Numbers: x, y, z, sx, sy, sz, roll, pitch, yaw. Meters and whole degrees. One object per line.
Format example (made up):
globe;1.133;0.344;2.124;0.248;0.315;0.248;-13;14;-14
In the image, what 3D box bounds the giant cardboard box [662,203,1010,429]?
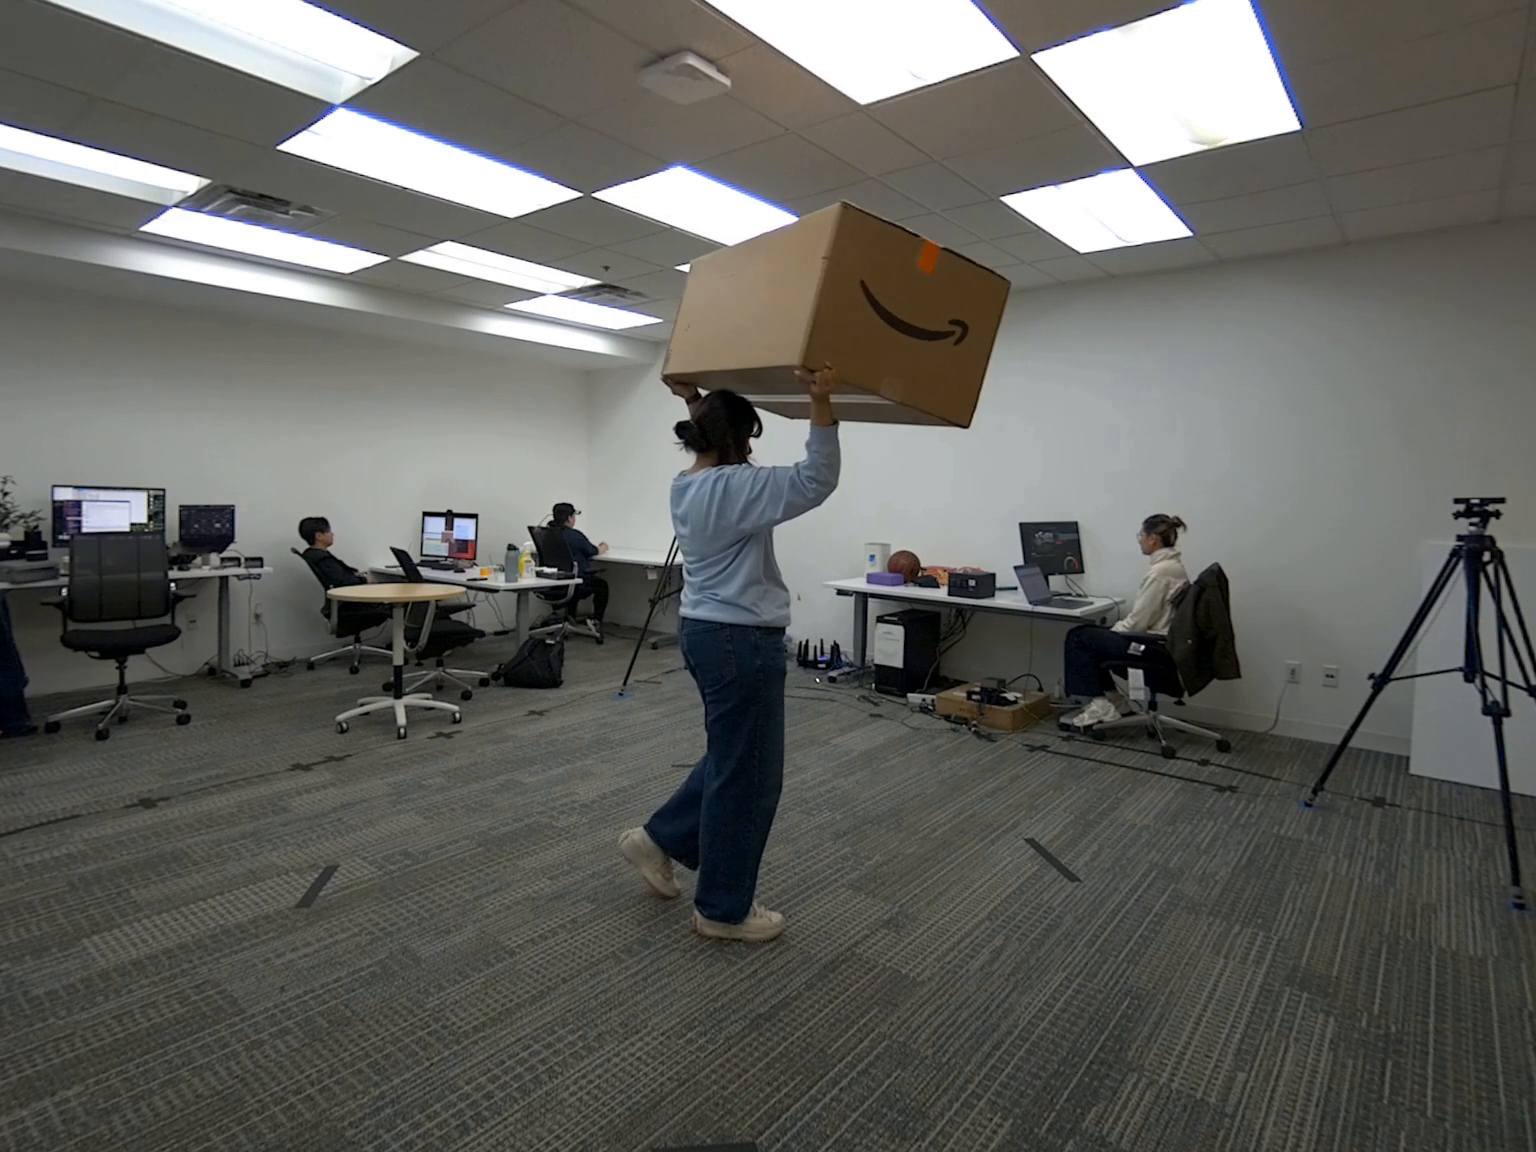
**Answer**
giant cardboard box;0.136;-0.762;2.696;0.560;0.425;1.060;14;4;-28
